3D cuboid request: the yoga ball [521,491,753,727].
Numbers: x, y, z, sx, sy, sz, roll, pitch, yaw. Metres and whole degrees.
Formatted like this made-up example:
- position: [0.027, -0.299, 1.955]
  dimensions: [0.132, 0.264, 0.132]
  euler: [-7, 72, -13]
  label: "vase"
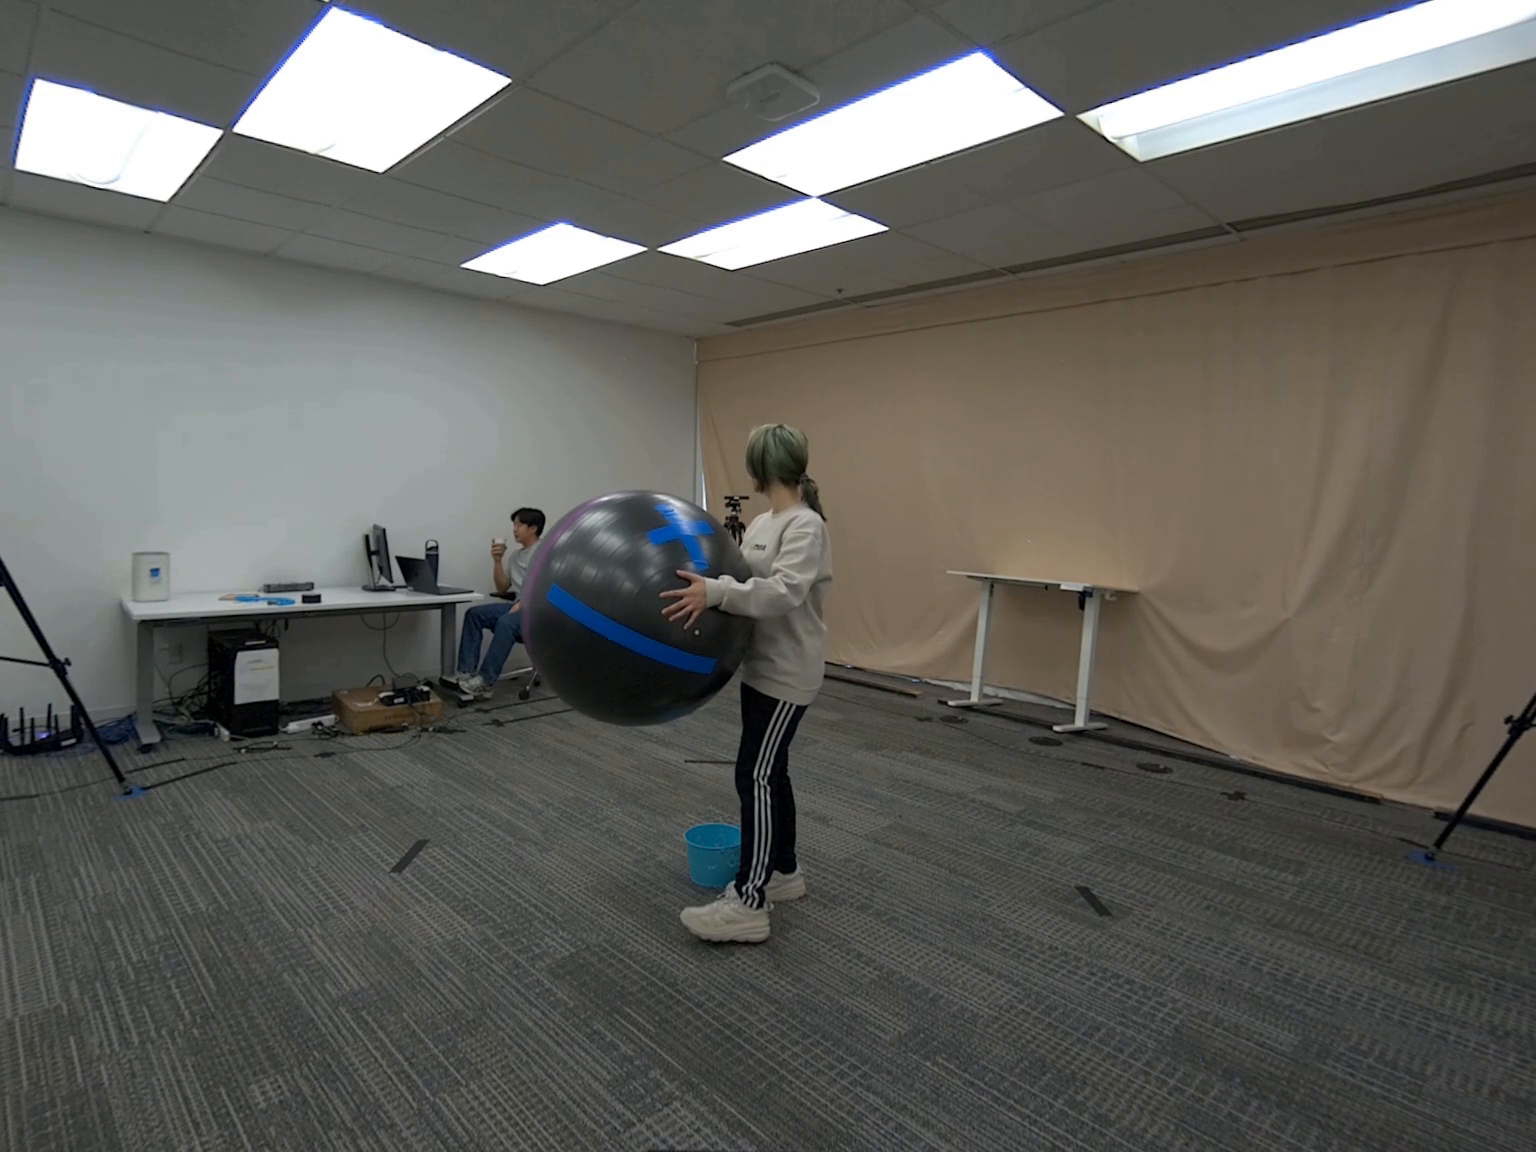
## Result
- position: [-0.436, 0.108, 2.731]
  dimensions: [0.757, 0.756, 0.761]
  euler: [1, 4, -1]
  label: "yoga ball"
